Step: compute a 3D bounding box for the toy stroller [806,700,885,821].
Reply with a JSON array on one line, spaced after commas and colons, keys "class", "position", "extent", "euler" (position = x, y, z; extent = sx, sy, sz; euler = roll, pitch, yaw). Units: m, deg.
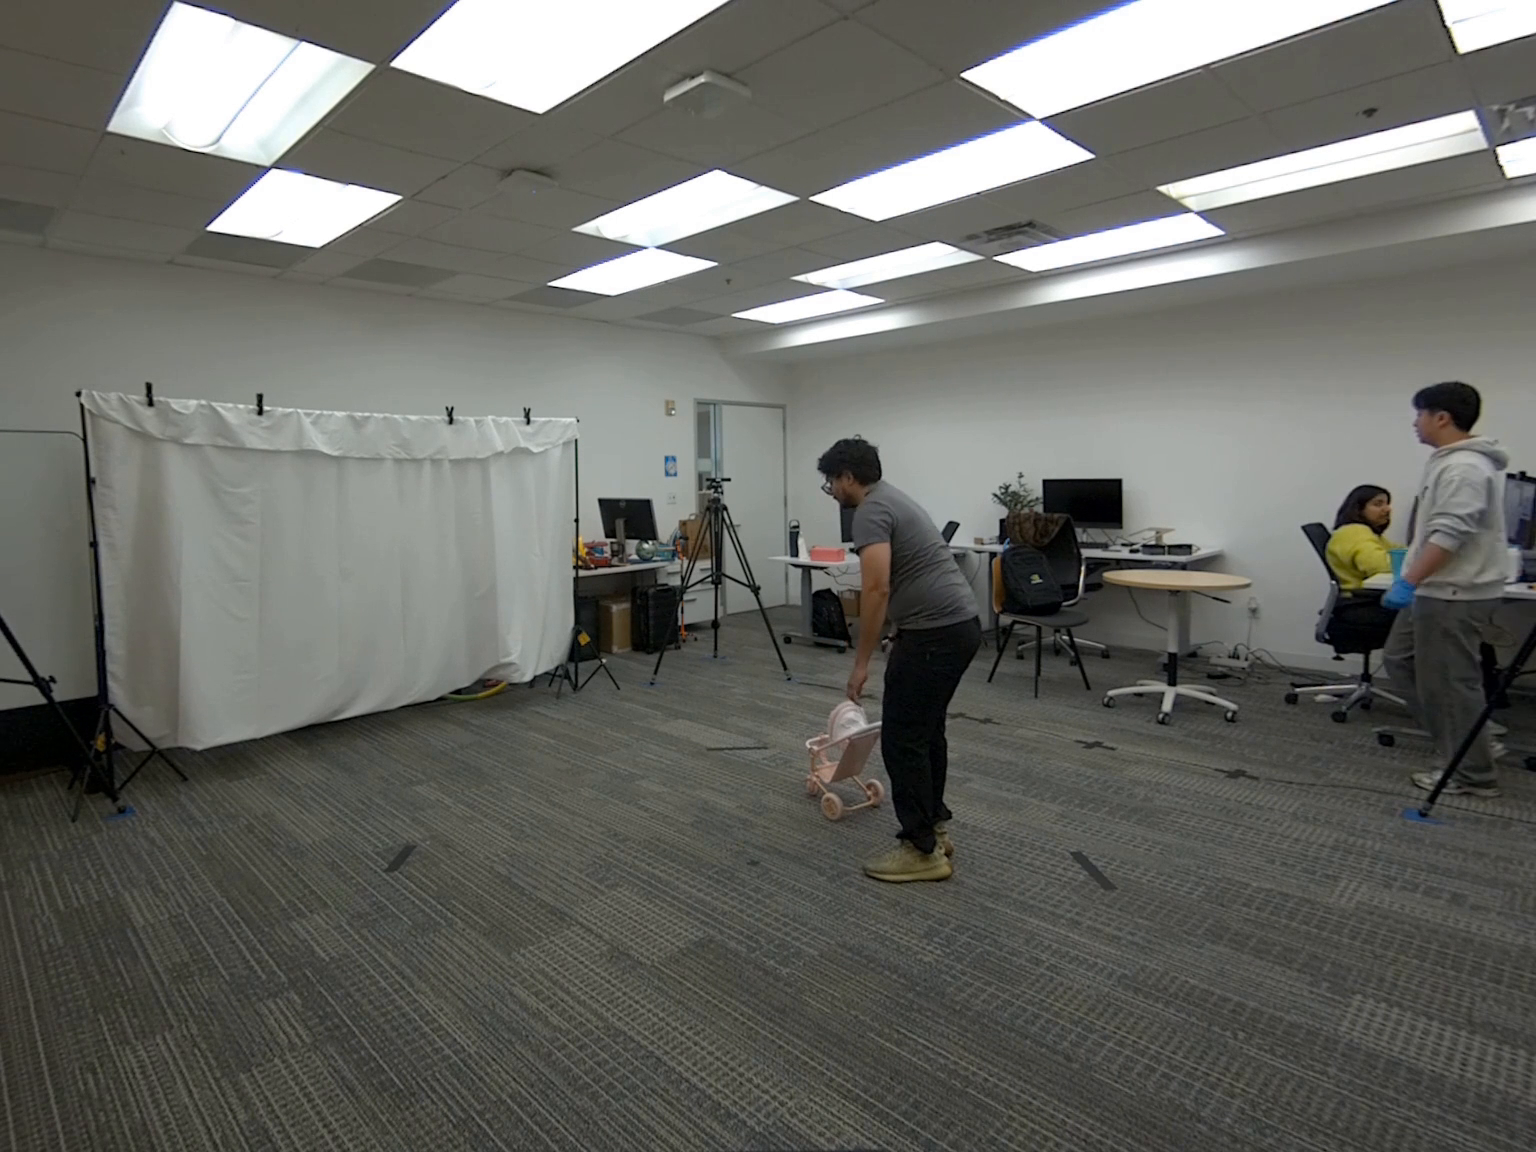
[{"class": "toy stroller", "position": [0.321, 0.759, 3.595], "extent": [0.274, 0.528, 0.354], "euler": [-3, 23, -35]}]
